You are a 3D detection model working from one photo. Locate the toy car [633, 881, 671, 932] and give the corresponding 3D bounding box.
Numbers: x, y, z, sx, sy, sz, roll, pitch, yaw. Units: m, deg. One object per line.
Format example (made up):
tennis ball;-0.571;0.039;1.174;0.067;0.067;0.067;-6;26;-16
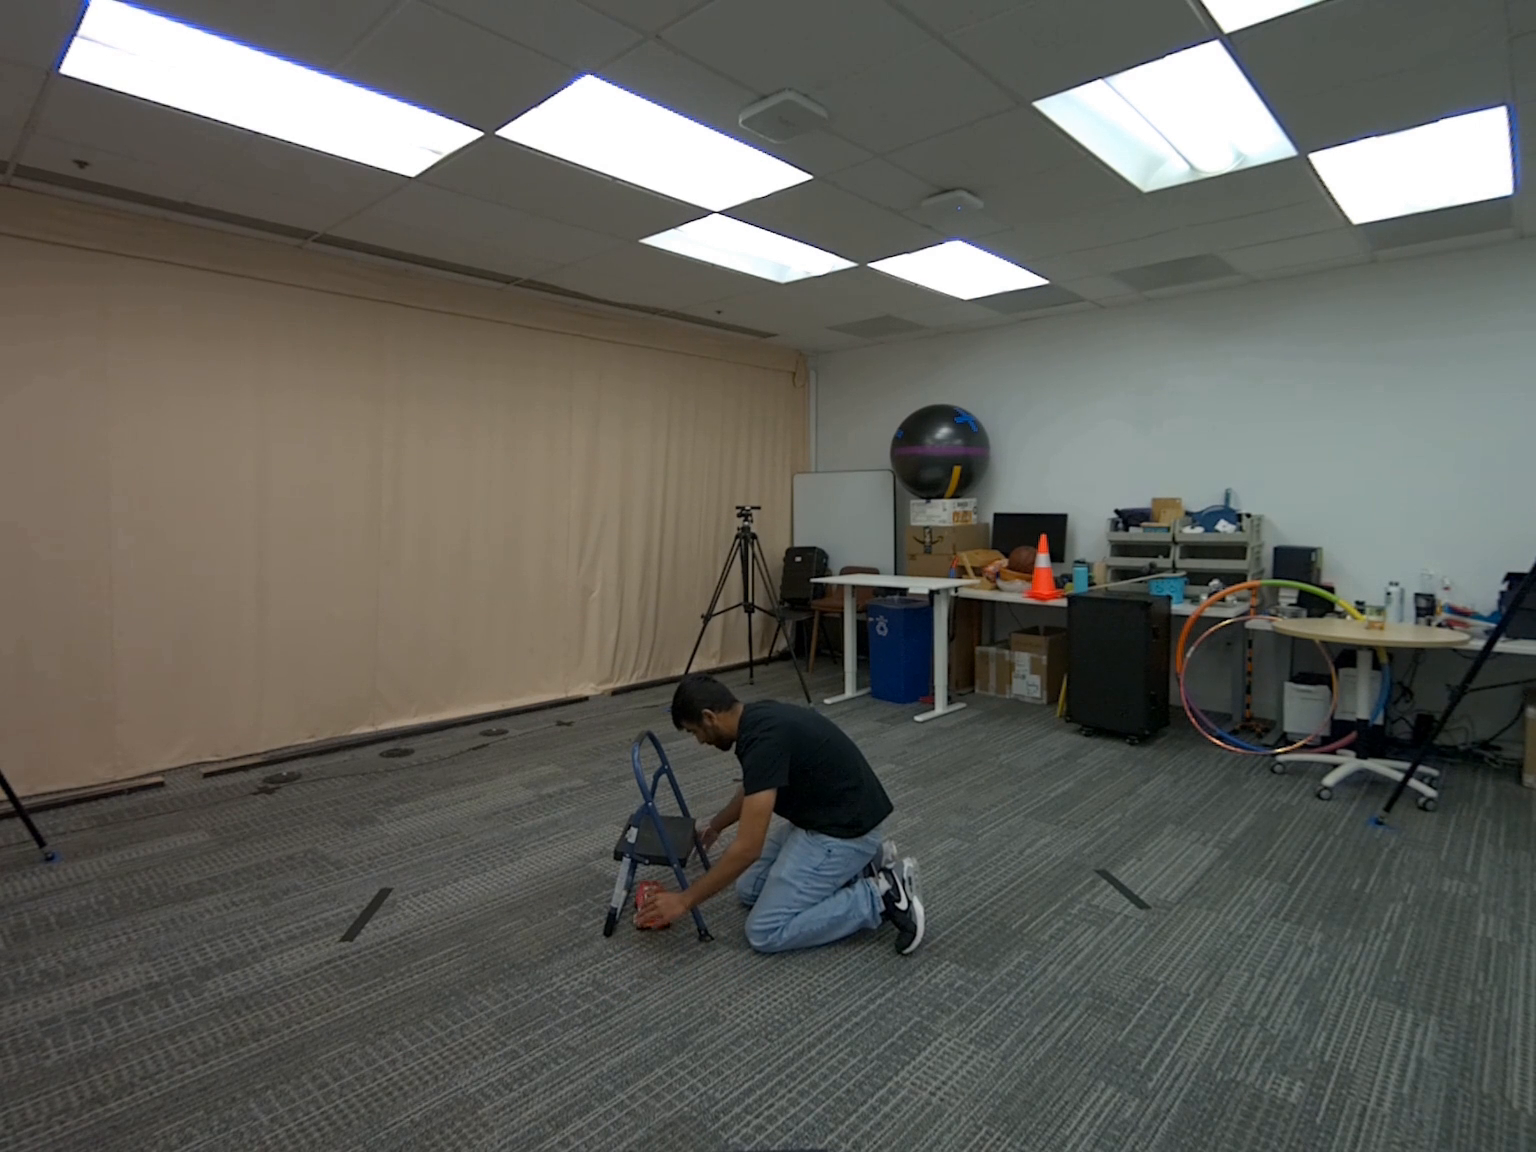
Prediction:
toy car;-0.387;1.131;2.848;0.129;0.082;0.259;-2;17;-7
